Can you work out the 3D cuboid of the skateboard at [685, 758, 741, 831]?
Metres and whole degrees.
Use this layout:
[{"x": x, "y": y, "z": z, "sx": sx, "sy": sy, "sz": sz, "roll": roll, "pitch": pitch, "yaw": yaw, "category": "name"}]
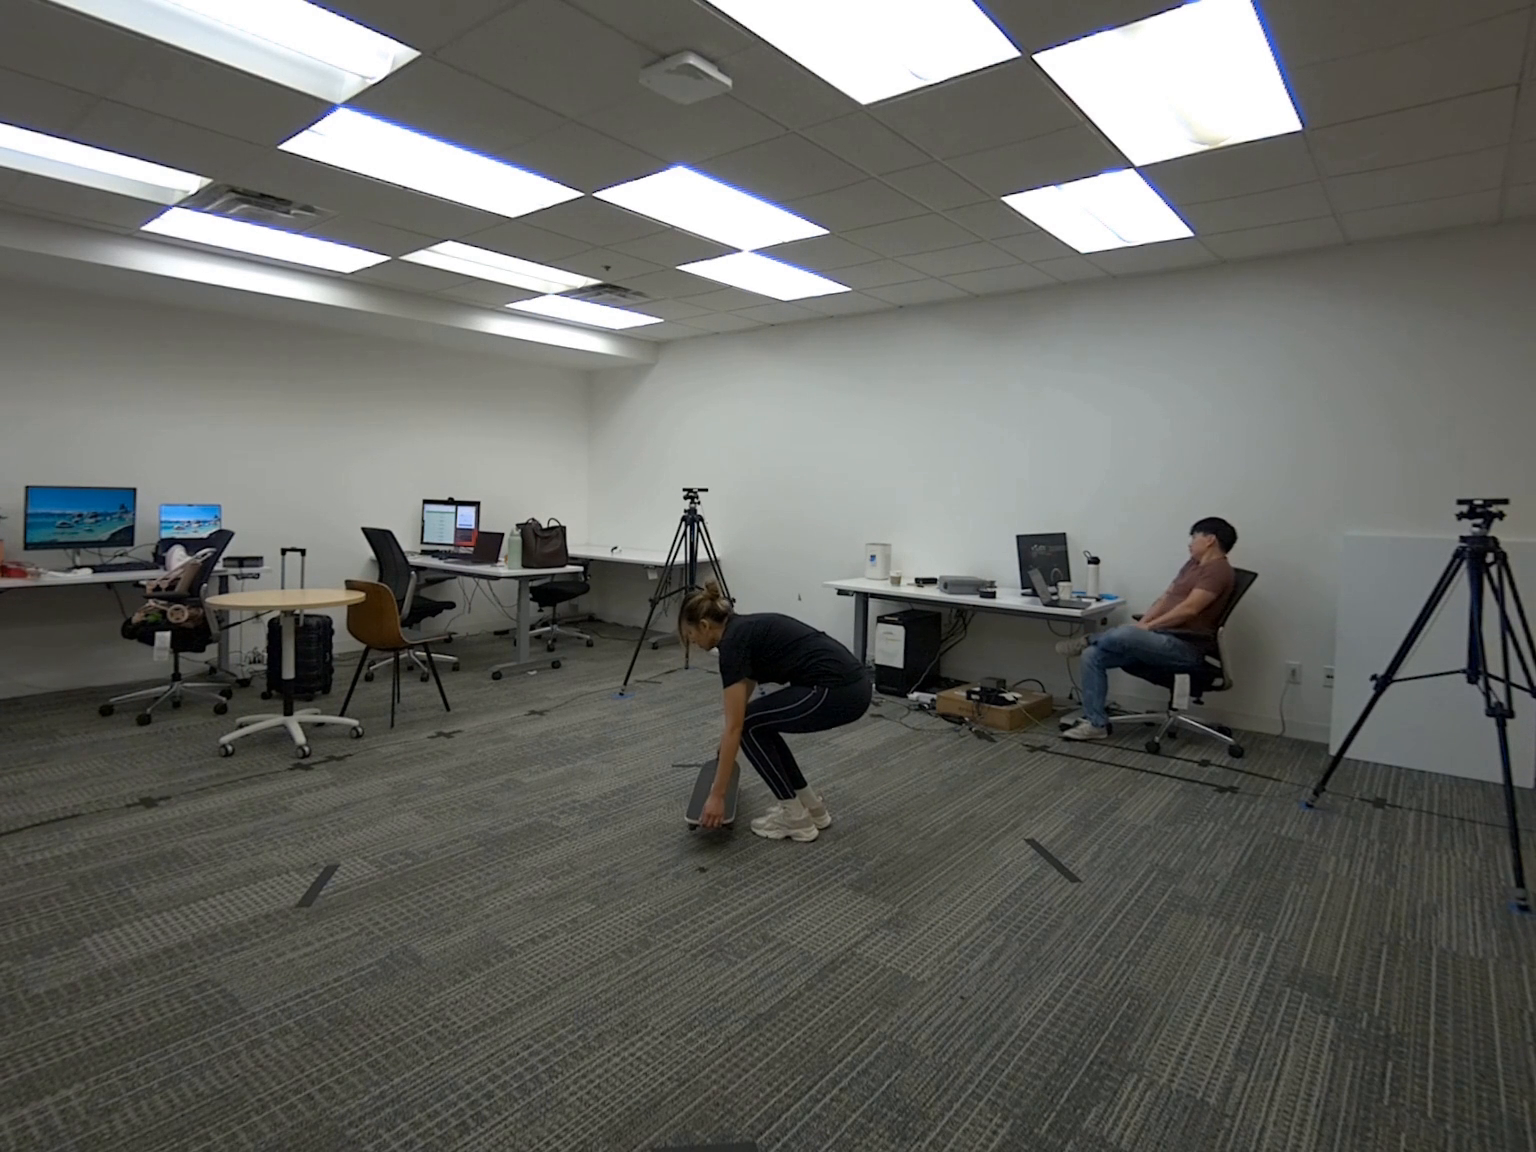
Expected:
[{"x": -0.233, "y": 0.927, "z": 3.591, "sx": 0.194, "sy": 0.110, "sz": 0.786, "roll": -3, "pitch": 5, "yaw": 1, "category": "skateboard"}]
